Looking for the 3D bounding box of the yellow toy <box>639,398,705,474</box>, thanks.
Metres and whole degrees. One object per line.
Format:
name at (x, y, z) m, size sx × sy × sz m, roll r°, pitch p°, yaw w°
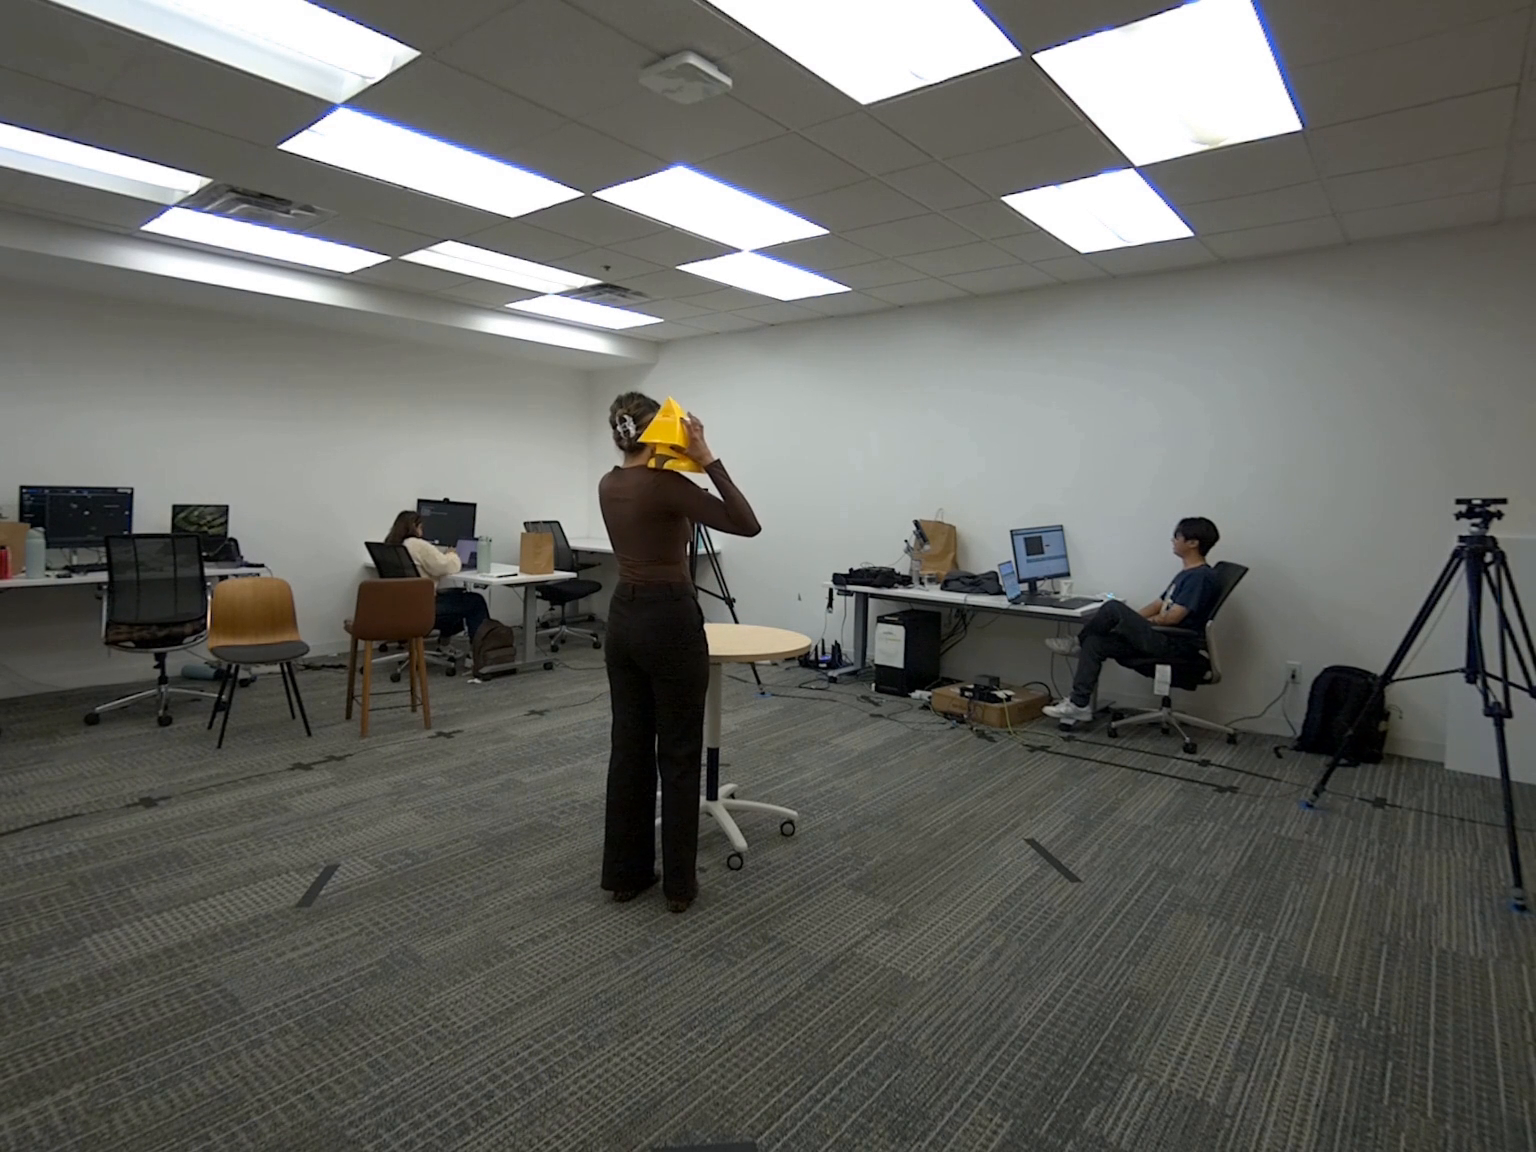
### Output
yellow toy at (-0.296, -0.458, 2.751) m, size 0.186 × 0.230 × 0.212 m, roll 5°, pitch 4°, yaw -44°
